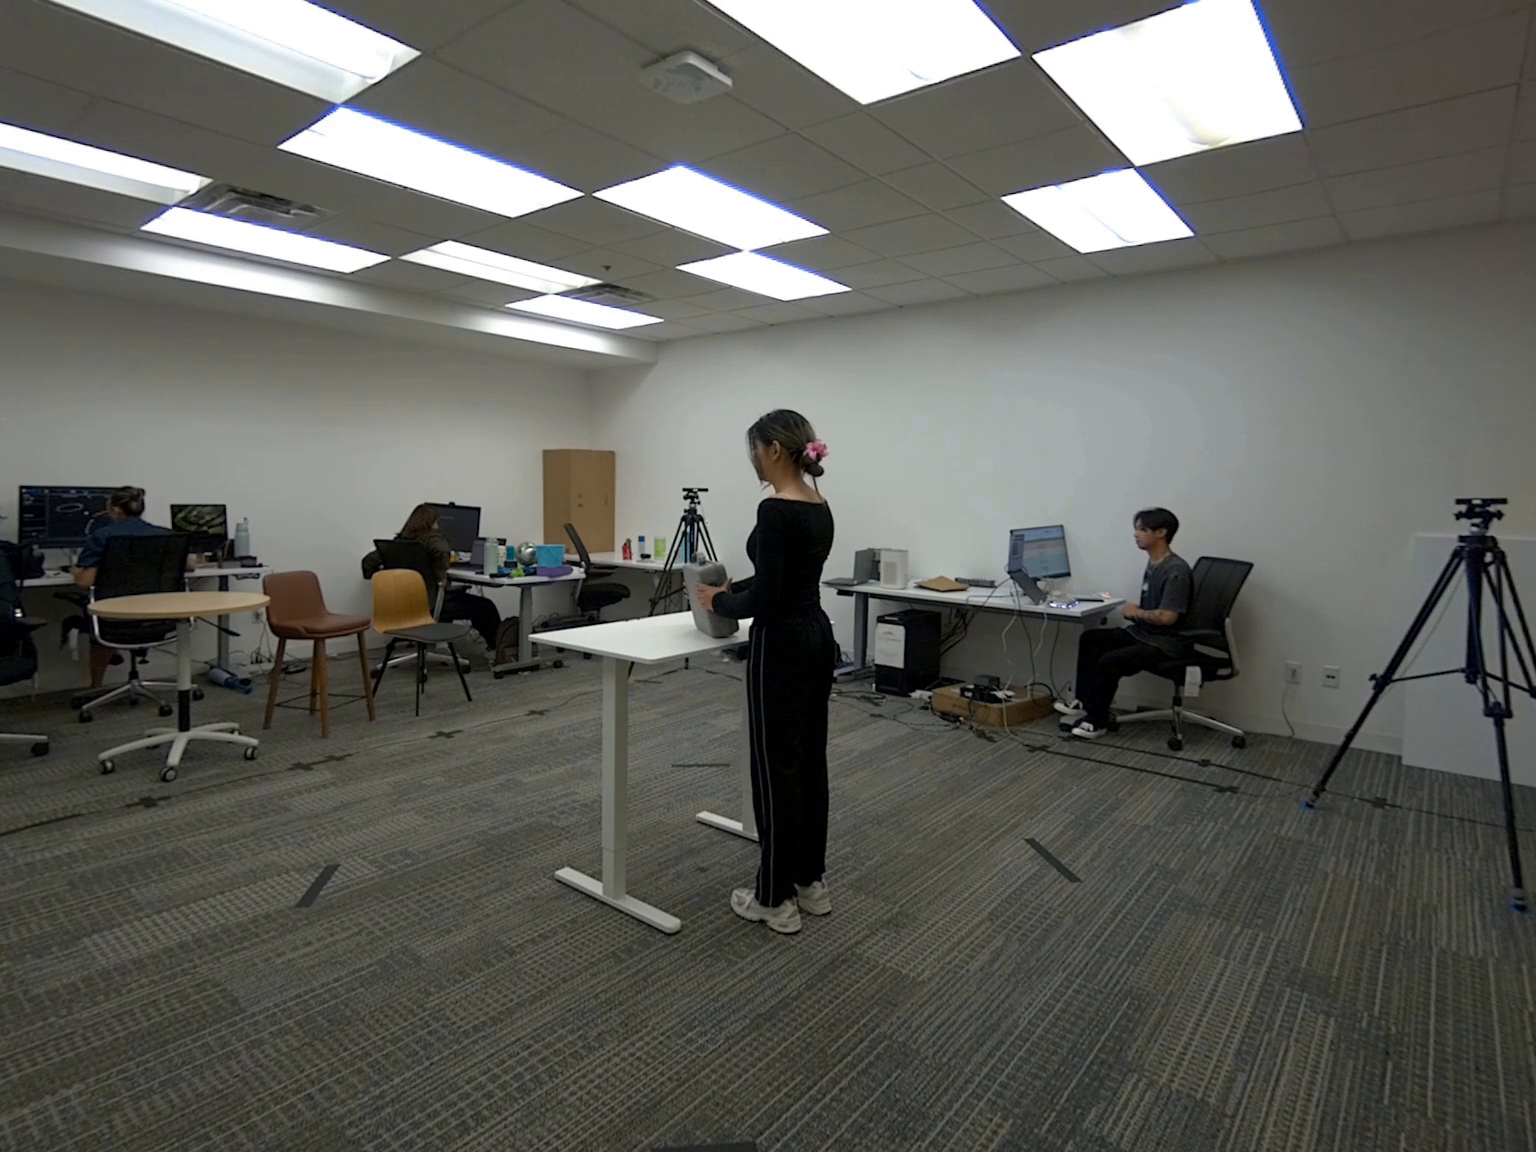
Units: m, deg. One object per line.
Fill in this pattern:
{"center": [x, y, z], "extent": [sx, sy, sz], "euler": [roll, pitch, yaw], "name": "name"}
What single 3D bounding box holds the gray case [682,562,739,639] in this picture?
{"center": [-0.212, 0.071, 2.977], "extent": [0.103, 0.259, 0.262], "euler": [-13, 7, -17], "name": "gray case"}
